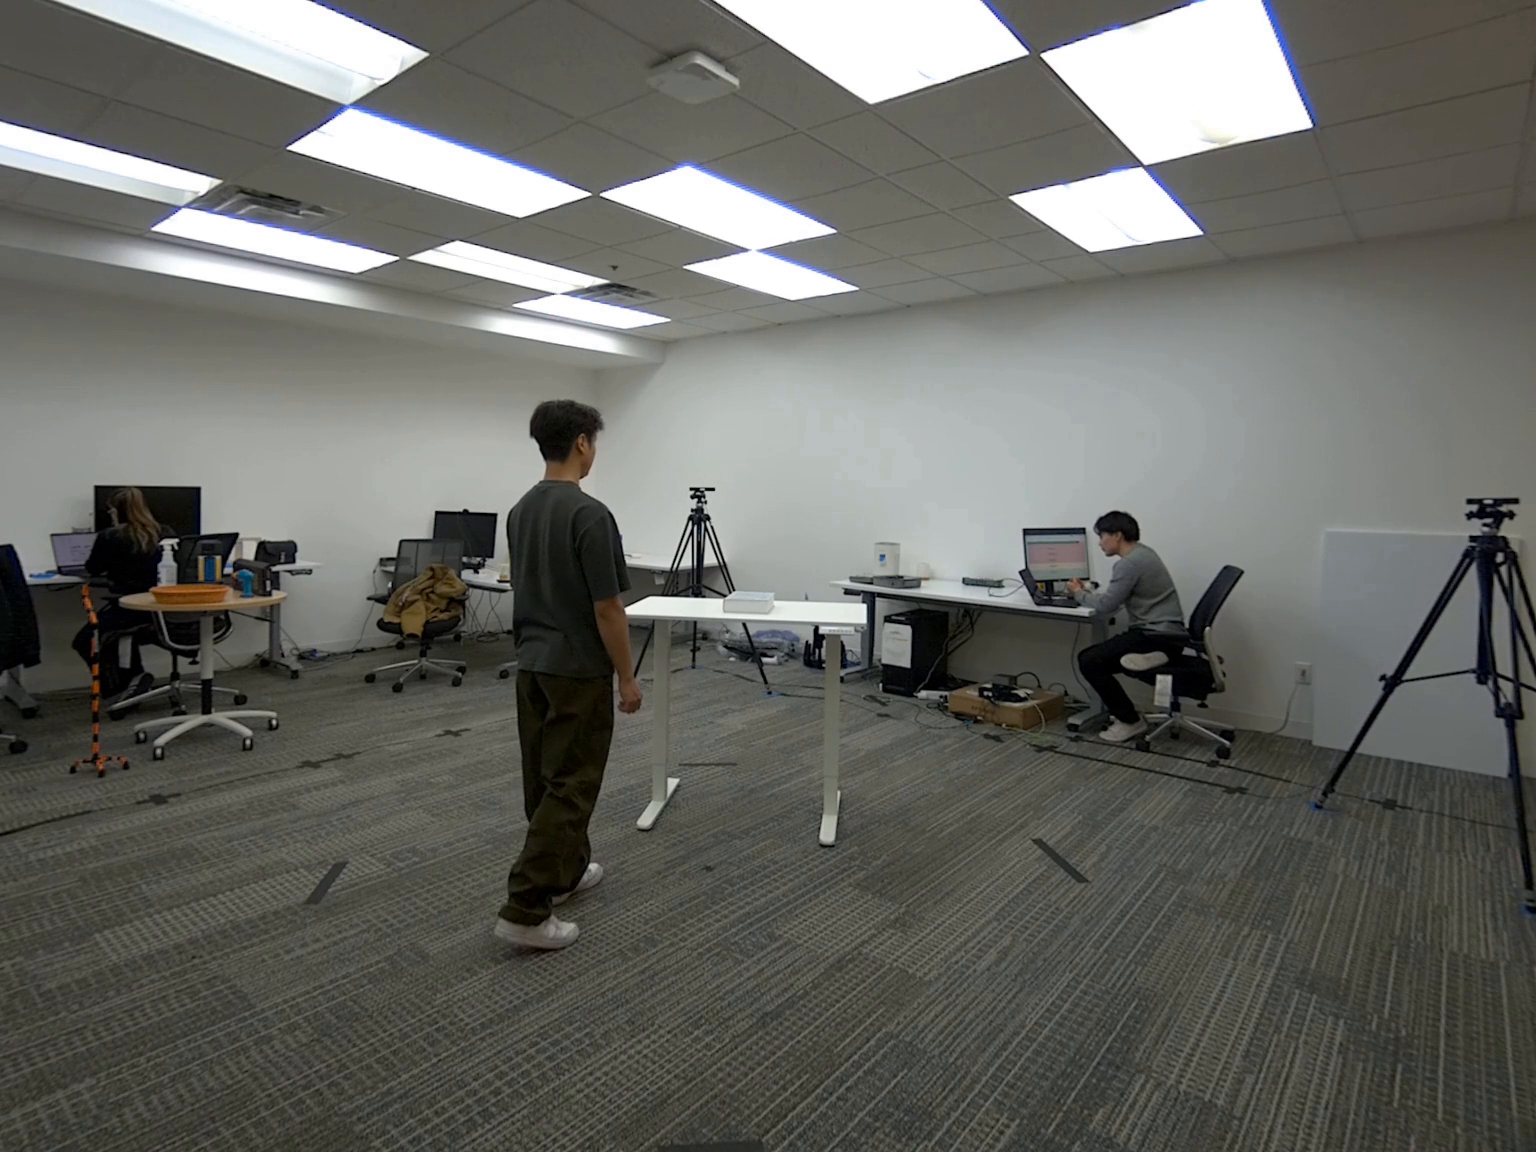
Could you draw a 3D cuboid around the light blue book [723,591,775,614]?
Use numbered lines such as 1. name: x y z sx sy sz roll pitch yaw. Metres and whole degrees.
1. light blue book: -0.088 0.109 3.617 0.193 0.059 0.260 2 6 6
